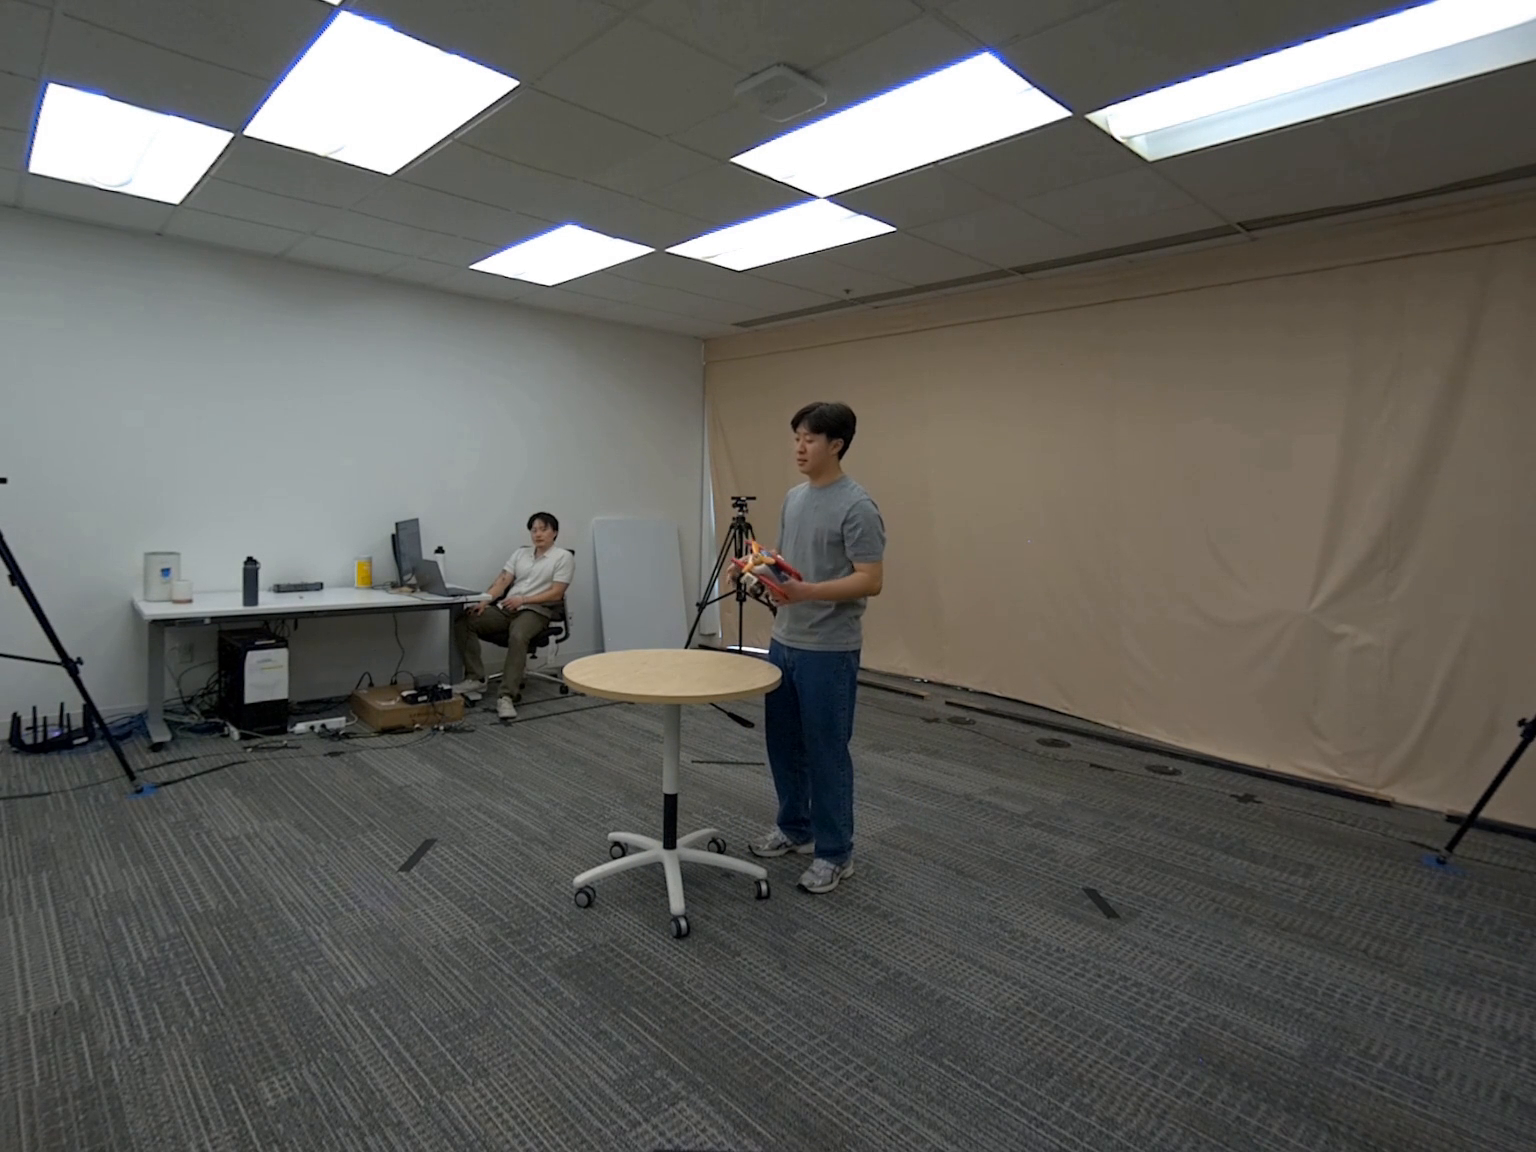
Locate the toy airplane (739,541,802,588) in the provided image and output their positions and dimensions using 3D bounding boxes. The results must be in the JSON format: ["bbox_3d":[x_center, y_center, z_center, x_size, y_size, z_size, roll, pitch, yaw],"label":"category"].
[{"bbox_3d":[-0.023,-0.014,2.867,0.253,0.156,0.258,33,4,6],"label":"toy airplane"}]
